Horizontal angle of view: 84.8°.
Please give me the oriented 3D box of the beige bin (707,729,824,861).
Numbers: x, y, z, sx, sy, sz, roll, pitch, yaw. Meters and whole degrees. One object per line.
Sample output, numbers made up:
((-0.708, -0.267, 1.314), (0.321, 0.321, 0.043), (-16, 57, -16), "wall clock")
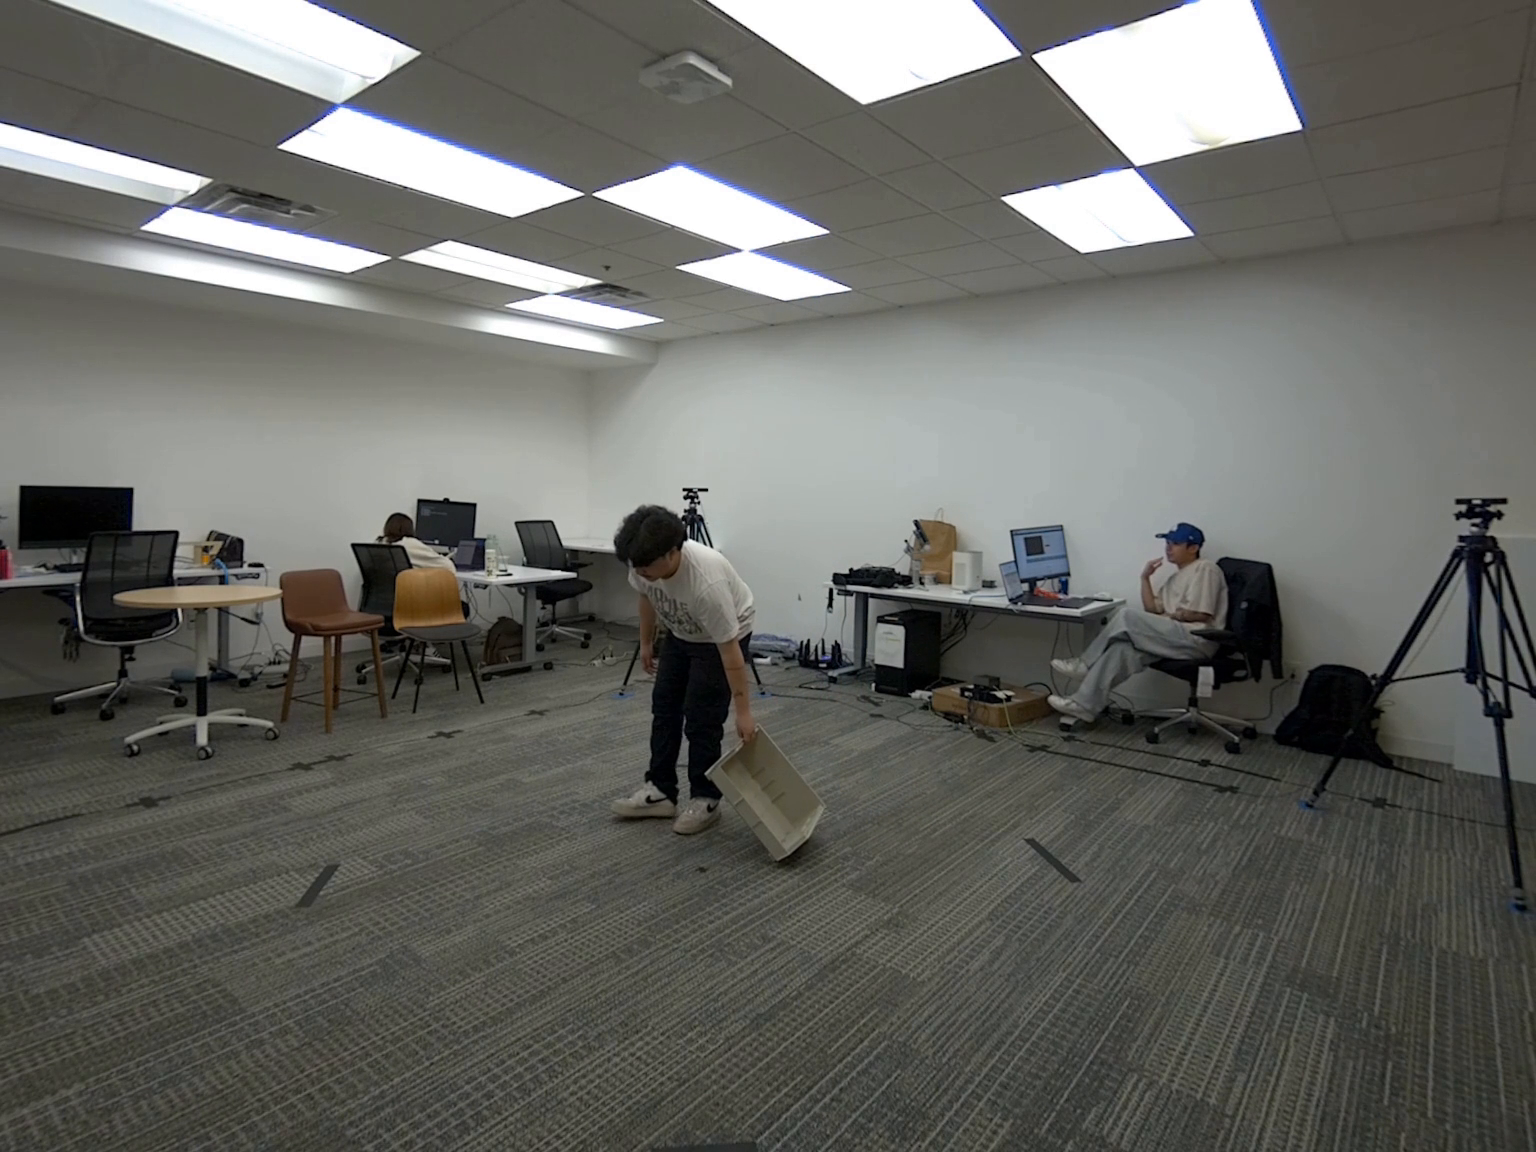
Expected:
((-0.020, 0.841, 3.322), (0.189, 0.428, 0.372), (-44, -8, 12), "beige bin")
